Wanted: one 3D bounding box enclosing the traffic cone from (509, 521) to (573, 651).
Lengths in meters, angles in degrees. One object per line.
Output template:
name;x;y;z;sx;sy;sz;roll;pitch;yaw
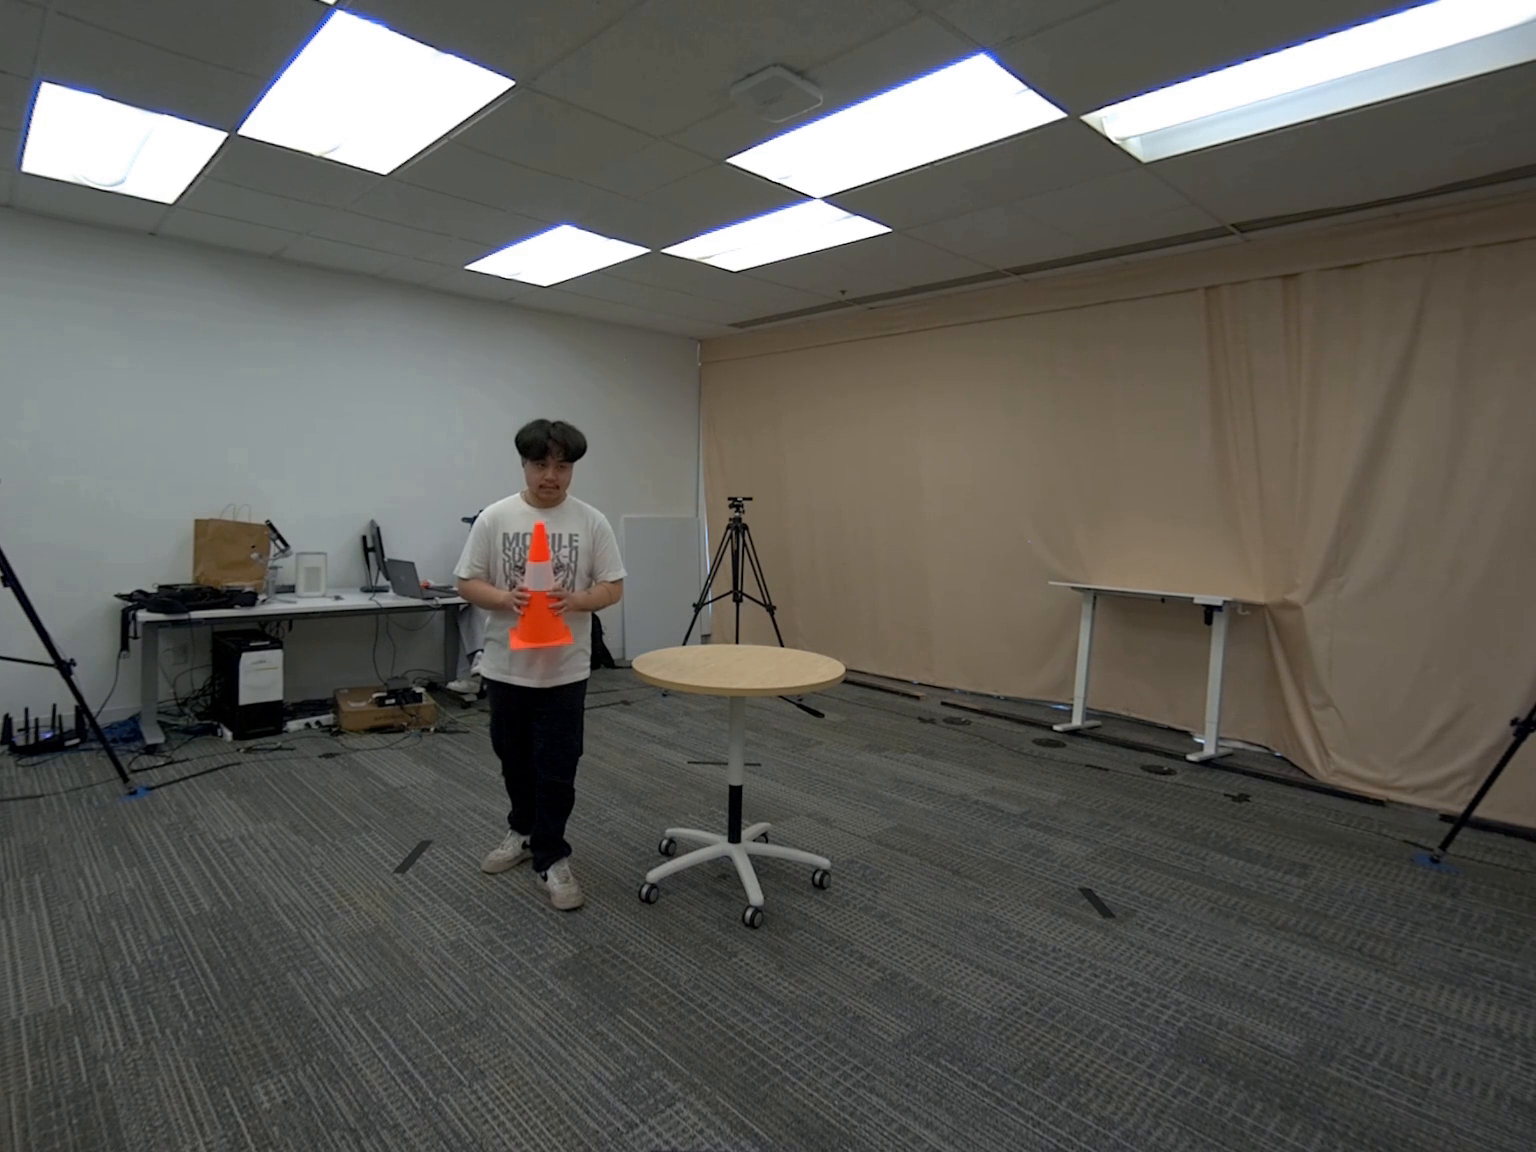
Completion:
traffic cone;-0.751;0.014;2.695;0.209;0.380;0.201;12;17;26
